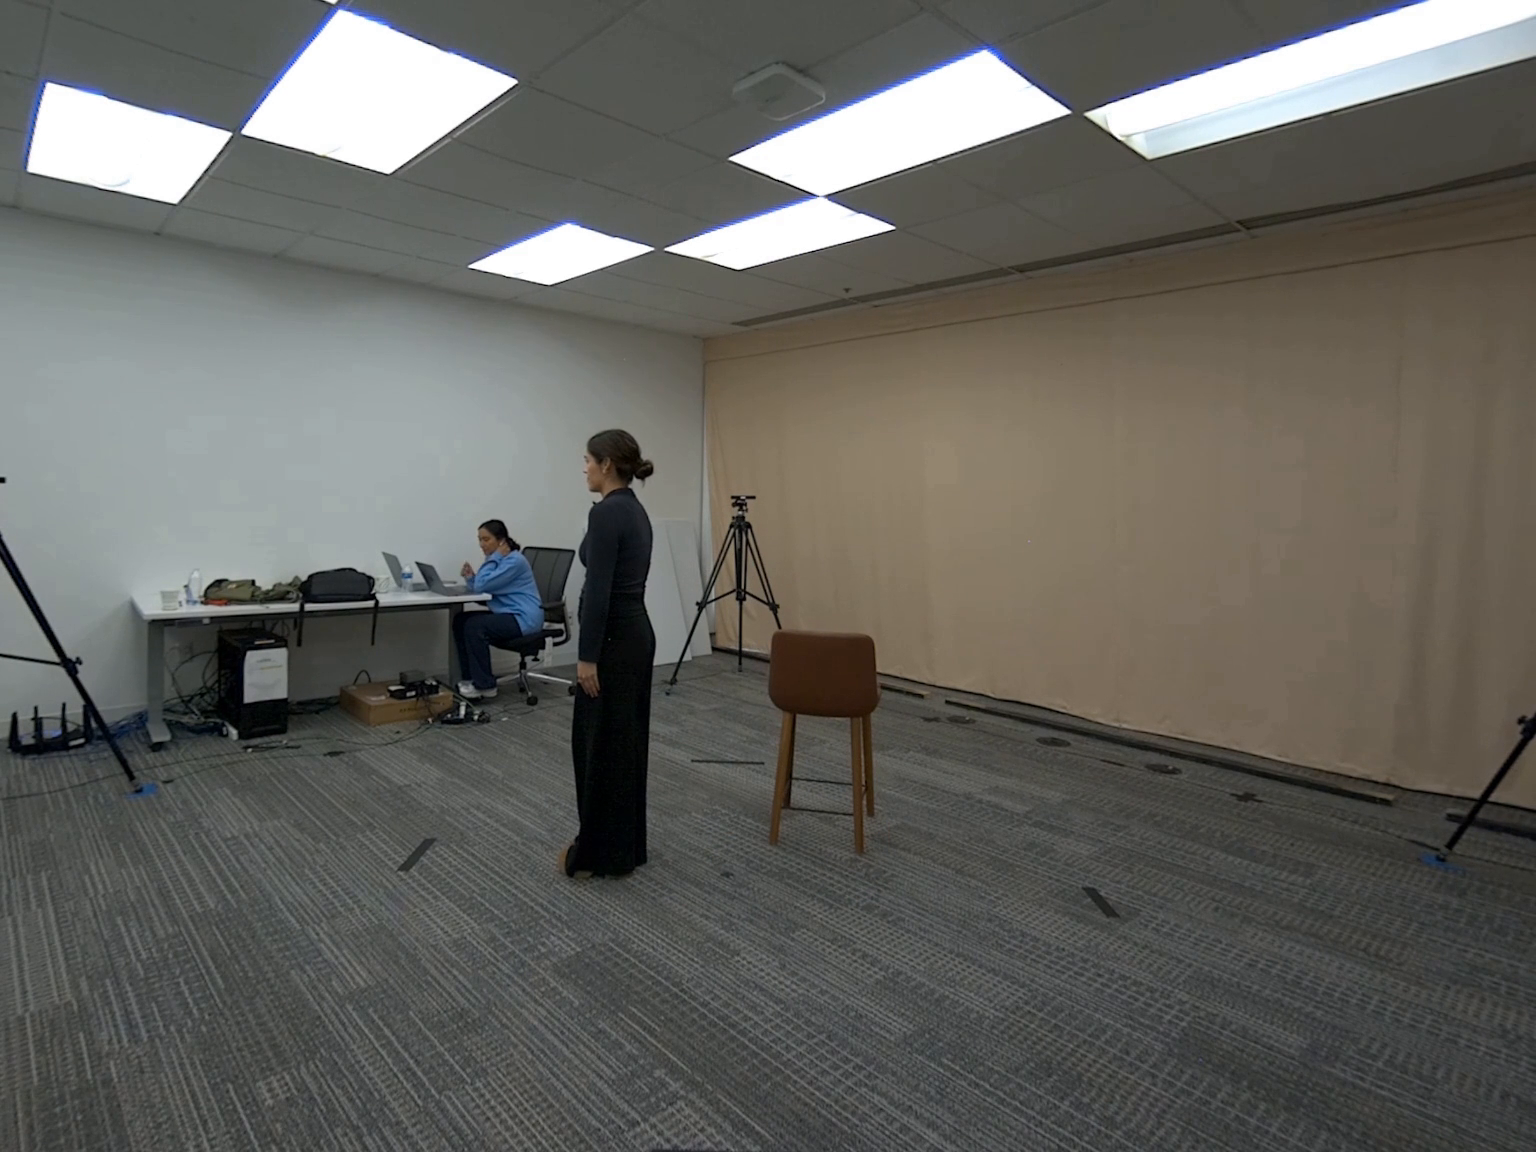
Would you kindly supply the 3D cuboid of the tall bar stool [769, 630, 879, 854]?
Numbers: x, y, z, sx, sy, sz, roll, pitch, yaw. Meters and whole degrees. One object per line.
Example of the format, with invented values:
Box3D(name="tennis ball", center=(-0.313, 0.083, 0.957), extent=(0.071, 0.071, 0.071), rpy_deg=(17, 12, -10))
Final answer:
Box3D(name="tall bar stool", center=(0.233, 0.639, 3.542), extent=(0.461, 0.887, 0.464), rpy_deg=(2, 4, 13))
